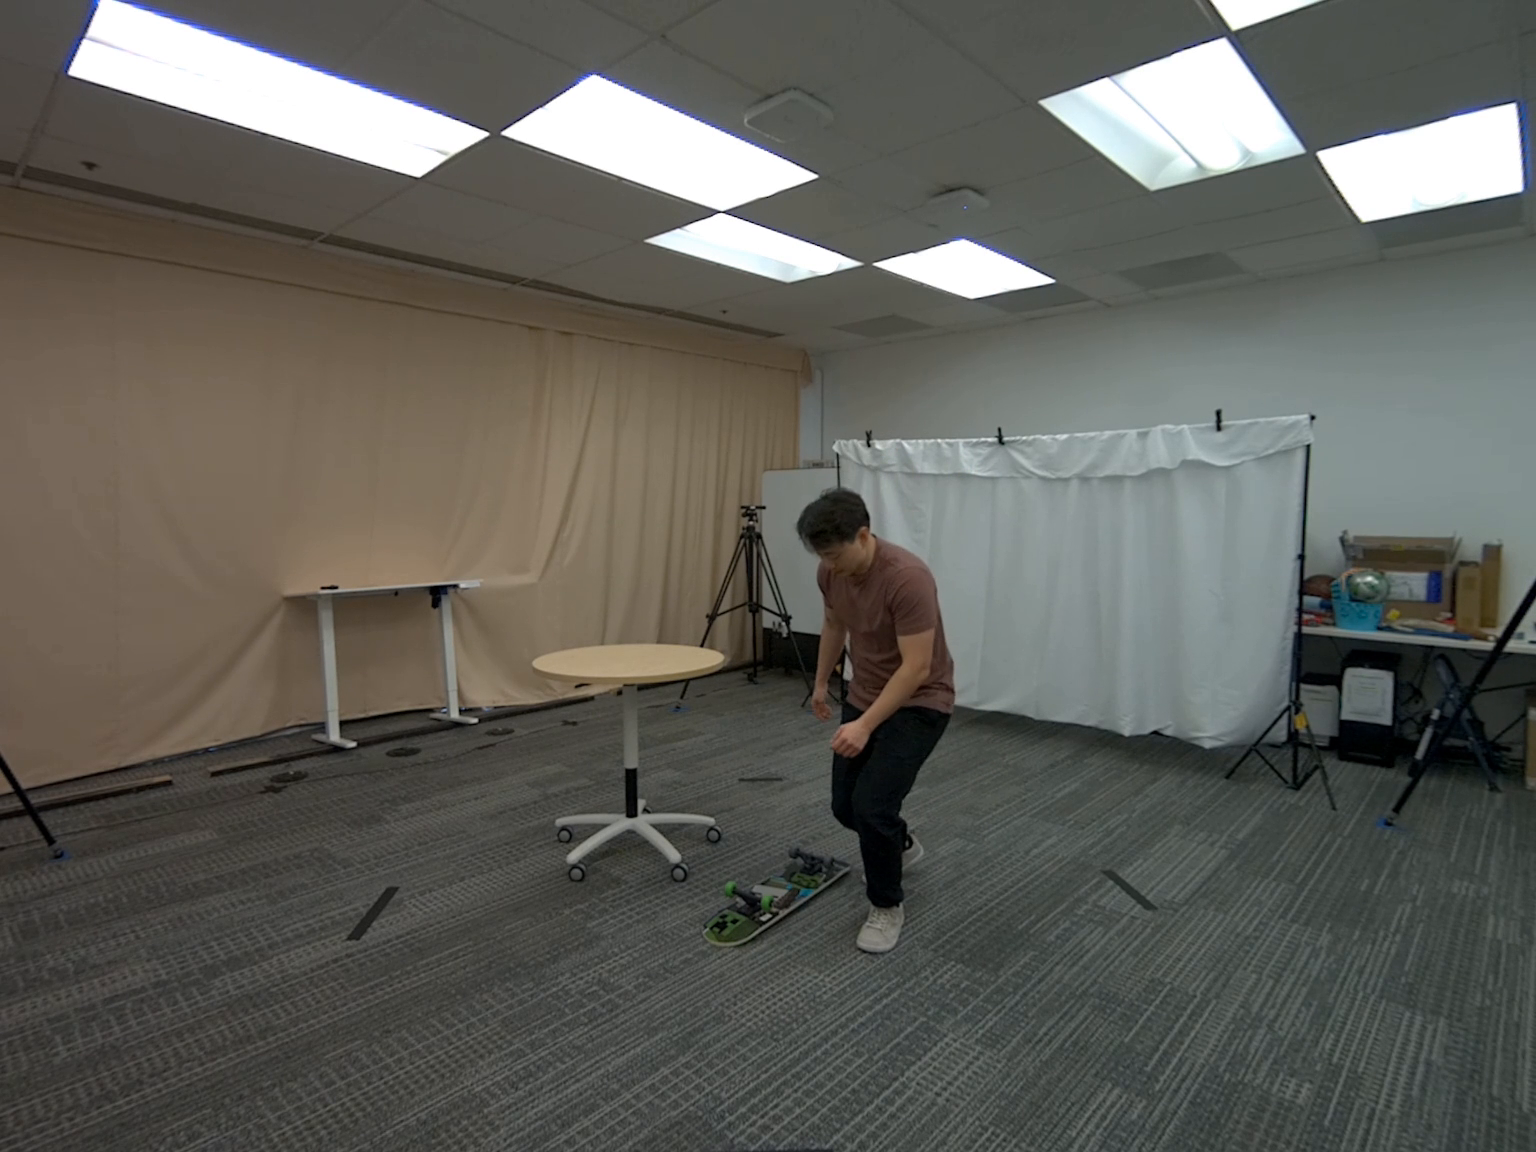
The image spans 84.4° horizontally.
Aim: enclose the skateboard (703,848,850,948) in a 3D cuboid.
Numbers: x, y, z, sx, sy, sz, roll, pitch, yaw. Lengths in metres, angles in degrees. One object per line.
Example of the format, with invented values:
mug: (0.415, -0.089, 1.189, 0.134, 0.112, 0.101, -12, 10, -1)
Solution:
skateboard: (0.052, 1.091, 2.980, 0.200, 0.110, 0.762, 4, 6, 37)
